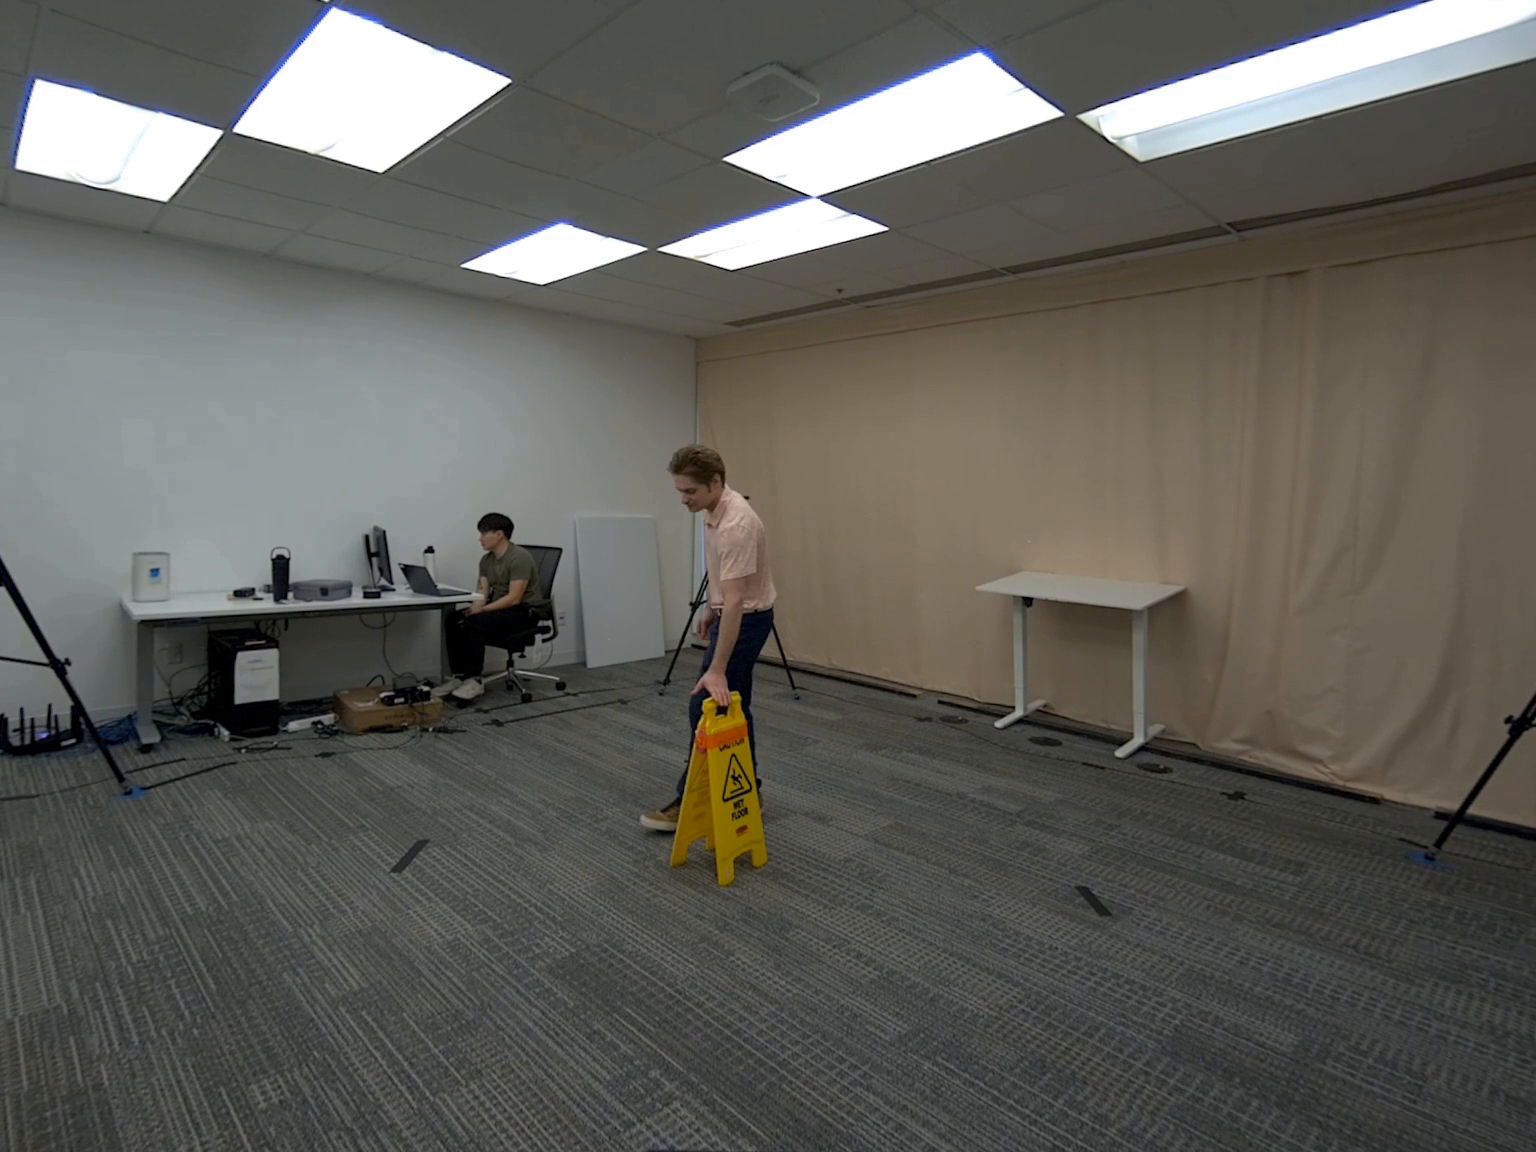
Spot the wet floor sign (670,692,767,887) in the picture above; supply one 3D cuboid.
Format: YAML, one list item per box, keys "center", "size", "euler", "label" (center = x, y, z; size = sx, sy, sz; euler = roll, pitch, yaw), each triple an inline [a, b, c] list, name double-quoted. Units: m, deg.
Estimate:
- center: [-0.189, 0.772, 3.168]
  size: [0.297, 0.644, 0.276]
  euler: [4, 5, 37]
  label: "wet floor sign"
